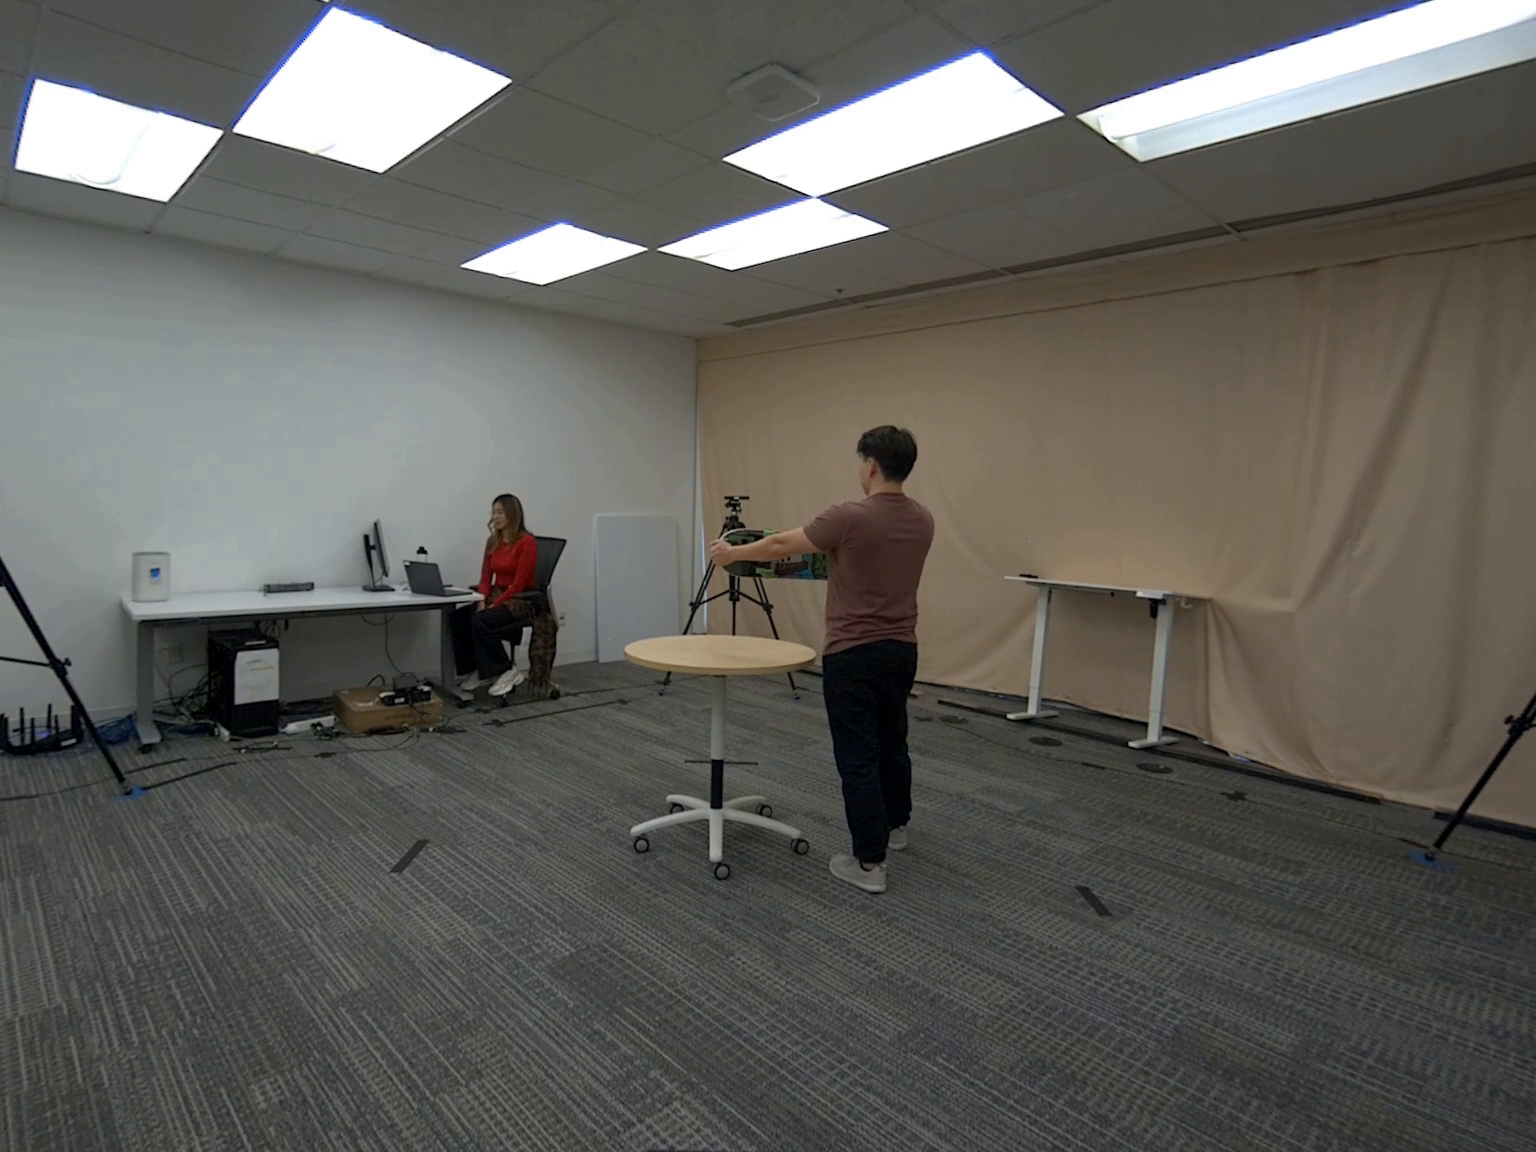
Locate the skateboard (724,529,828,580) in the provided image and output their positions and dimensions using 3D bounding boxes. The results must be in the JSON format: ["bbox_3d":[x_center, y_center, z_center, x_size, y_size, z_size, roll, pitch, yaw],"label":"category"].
[{"bbox_3d":[0.149,-0.086,3.501,0.768,0.193,0.113,3,0,-33],"label":"skateboard"}]
